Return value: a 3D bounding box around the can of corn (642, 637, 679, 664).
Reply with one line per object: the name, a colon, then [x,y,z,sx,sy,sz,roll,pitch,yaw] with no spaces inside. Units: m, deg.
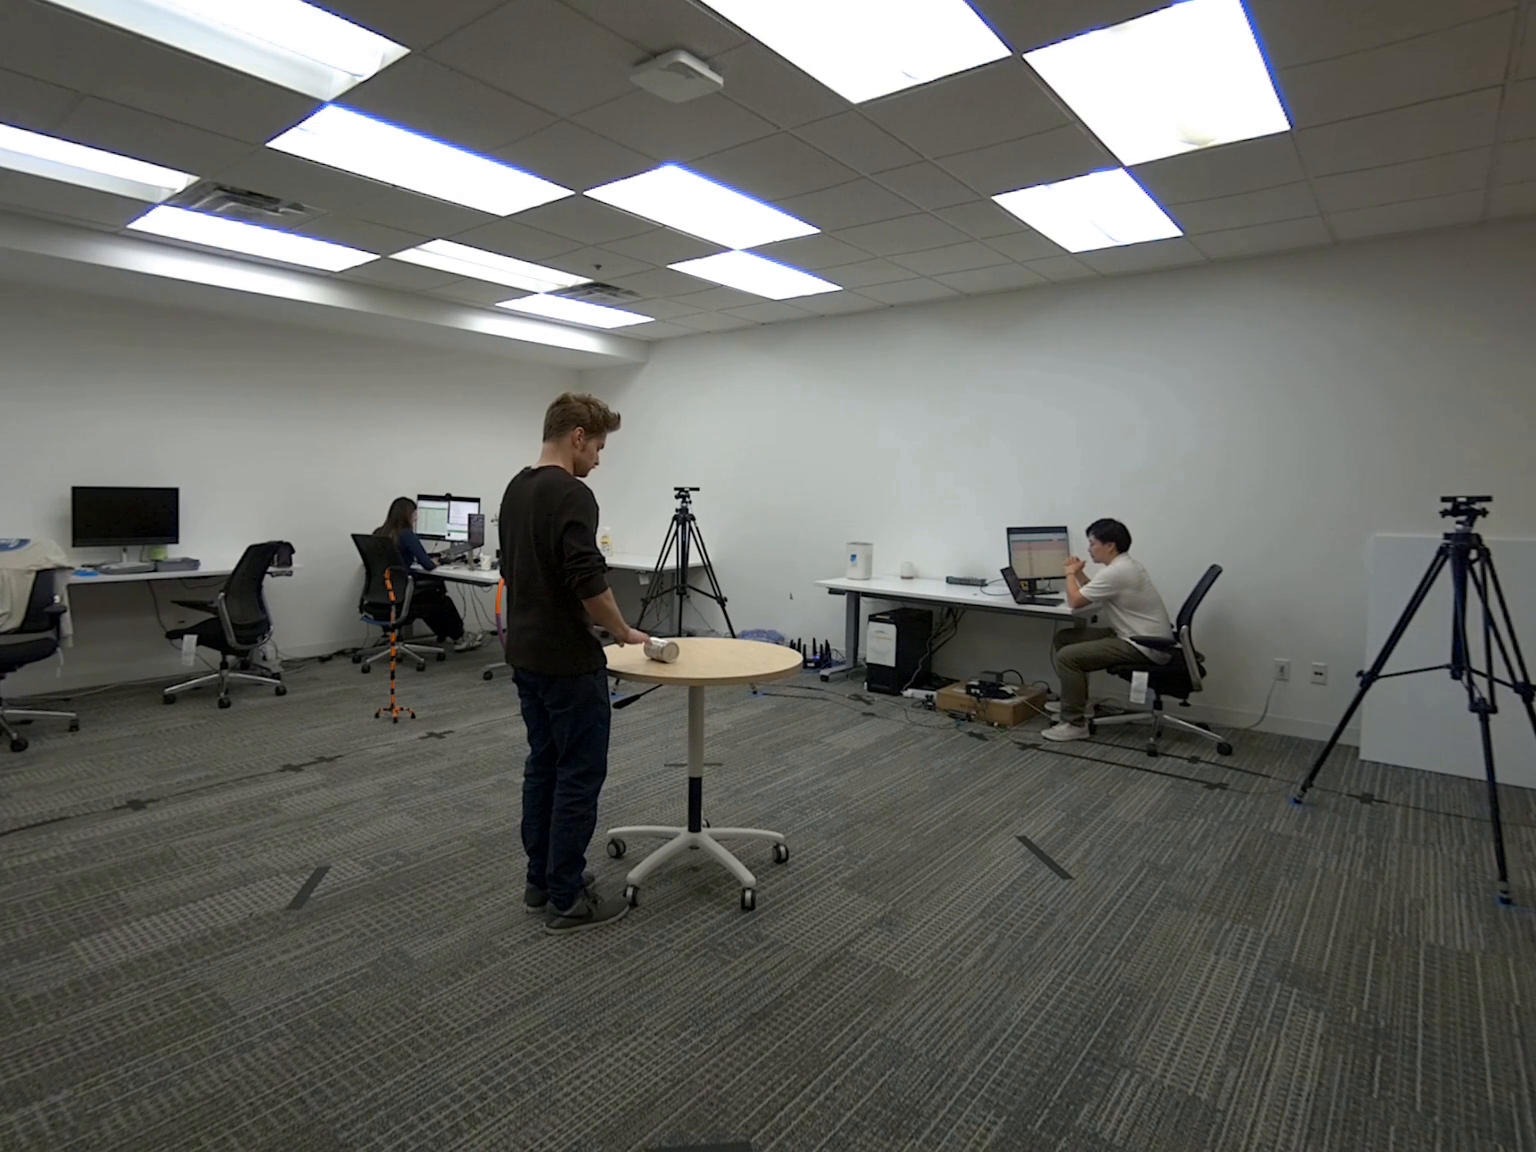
can of corn: [-0.378,0.255,2.963,0.072,0.074,0.115,-2,6,-39]
